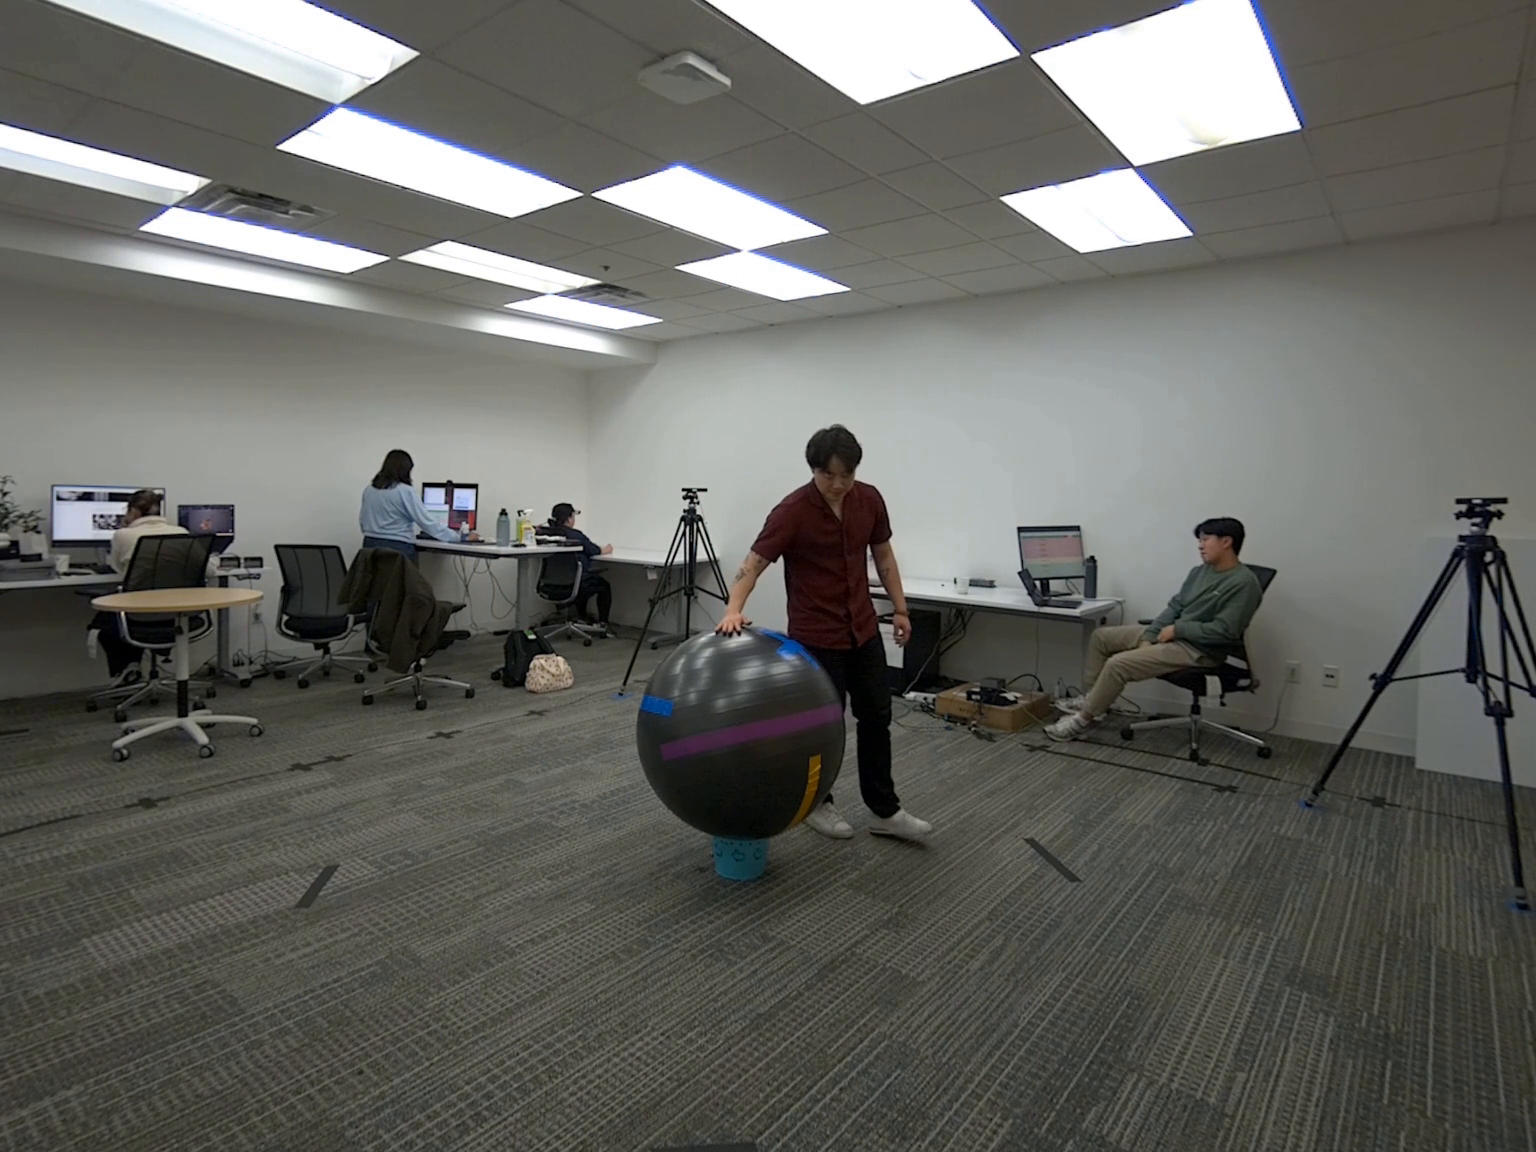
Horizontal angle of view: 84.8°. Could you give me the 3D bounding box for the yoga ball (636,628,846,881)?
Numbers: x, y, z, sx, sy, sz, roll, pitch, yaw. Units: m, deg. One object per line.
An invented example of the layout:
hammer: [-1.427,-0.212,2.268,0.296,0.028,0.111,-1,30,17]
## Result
yoga ball: [-0.119,0.566,3.096,0.757,0.755,0.762,1,4,-2]
